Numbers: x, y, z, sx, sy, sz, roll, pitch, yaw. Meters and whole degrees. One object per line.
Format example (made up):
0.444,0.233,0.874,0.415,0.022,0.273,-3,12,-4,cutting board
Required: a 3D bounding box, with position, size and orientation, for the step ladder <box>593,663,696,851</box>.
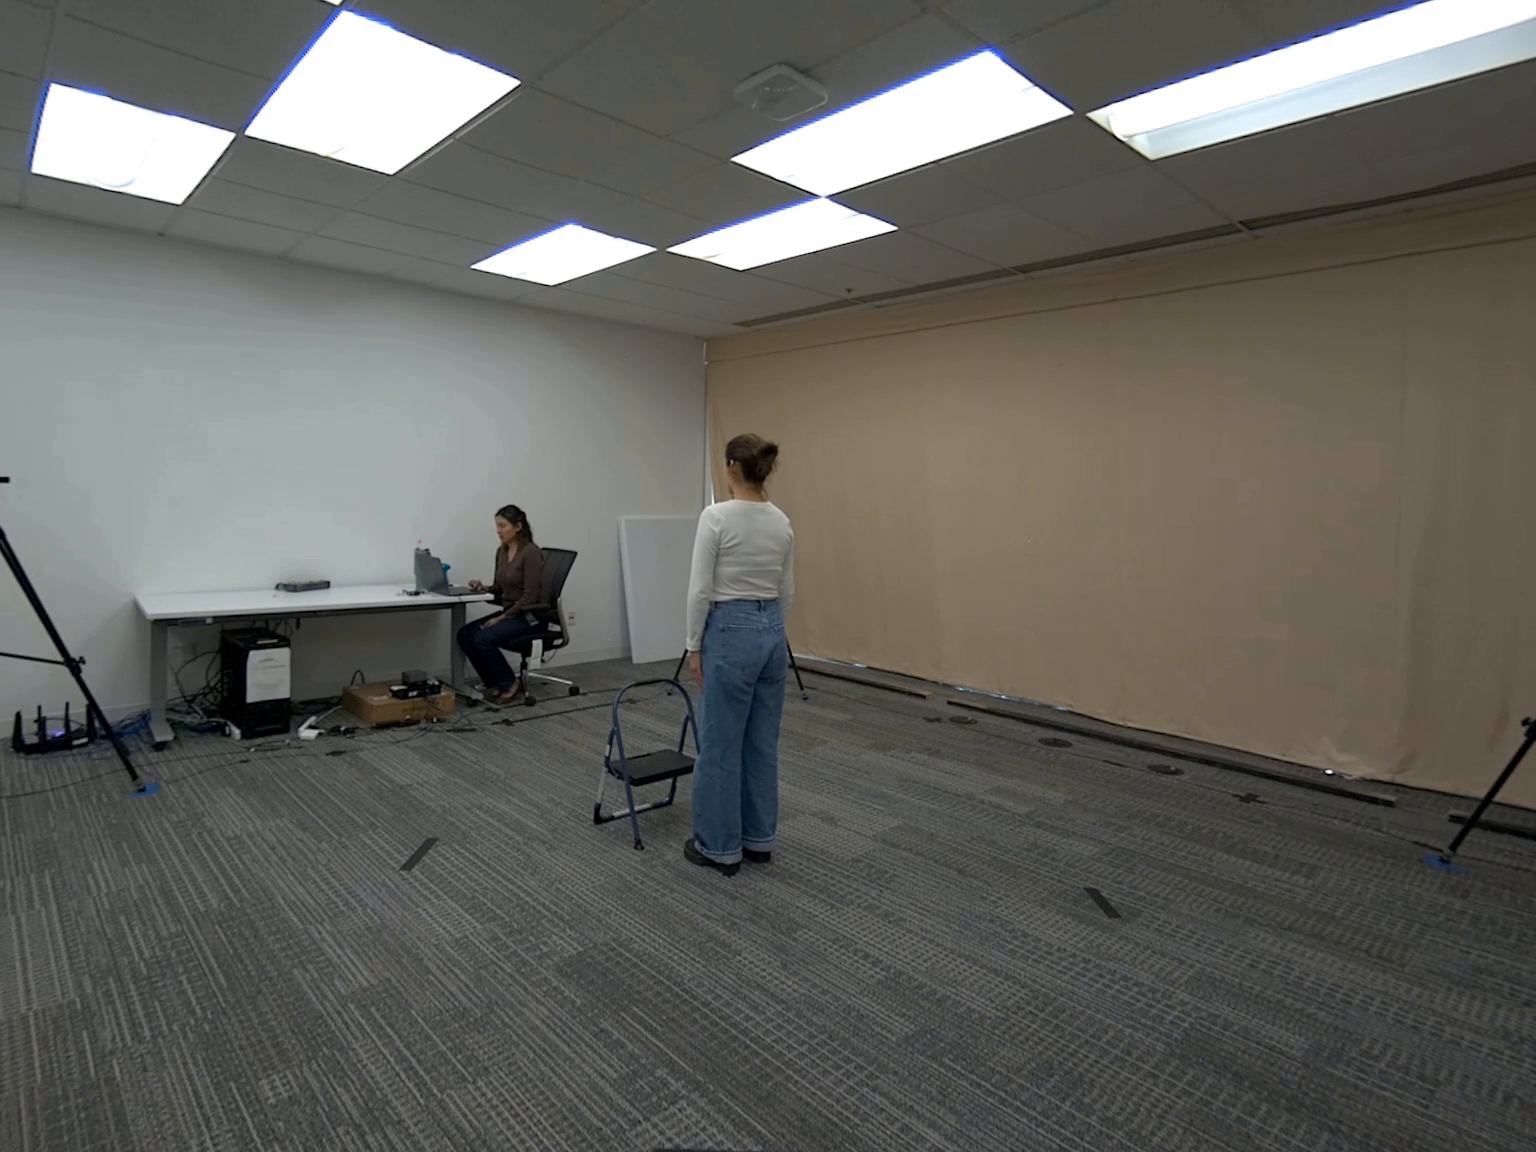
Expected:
-0.473,0.754,3.555,0.420,0.605,0.358,-1,4,-44,step ladder
